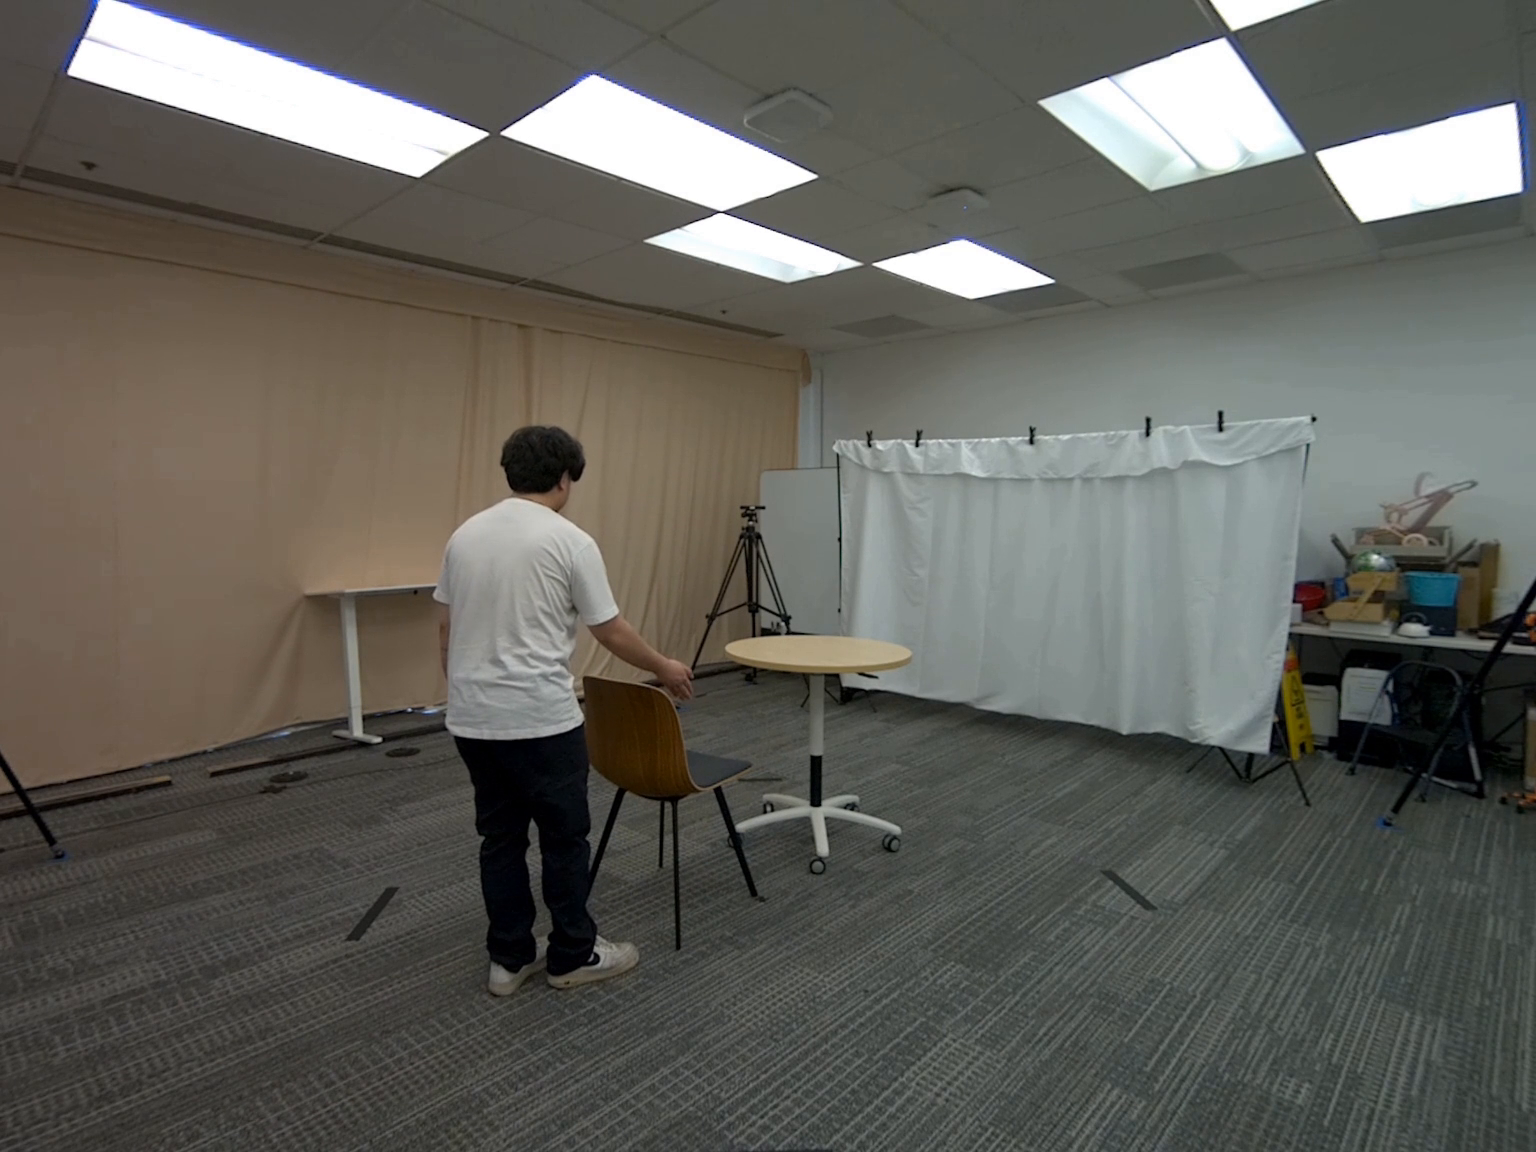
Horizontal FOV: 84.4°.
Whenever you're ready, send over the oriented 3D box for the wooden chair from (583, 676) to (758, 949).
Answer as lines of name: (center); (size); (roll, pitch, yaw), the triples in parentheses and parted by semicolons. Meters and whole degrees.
wooden chair: (-0.341, 0.723, 2.930); (0.493, 0.873, 0.509); (1, 8, 35)
